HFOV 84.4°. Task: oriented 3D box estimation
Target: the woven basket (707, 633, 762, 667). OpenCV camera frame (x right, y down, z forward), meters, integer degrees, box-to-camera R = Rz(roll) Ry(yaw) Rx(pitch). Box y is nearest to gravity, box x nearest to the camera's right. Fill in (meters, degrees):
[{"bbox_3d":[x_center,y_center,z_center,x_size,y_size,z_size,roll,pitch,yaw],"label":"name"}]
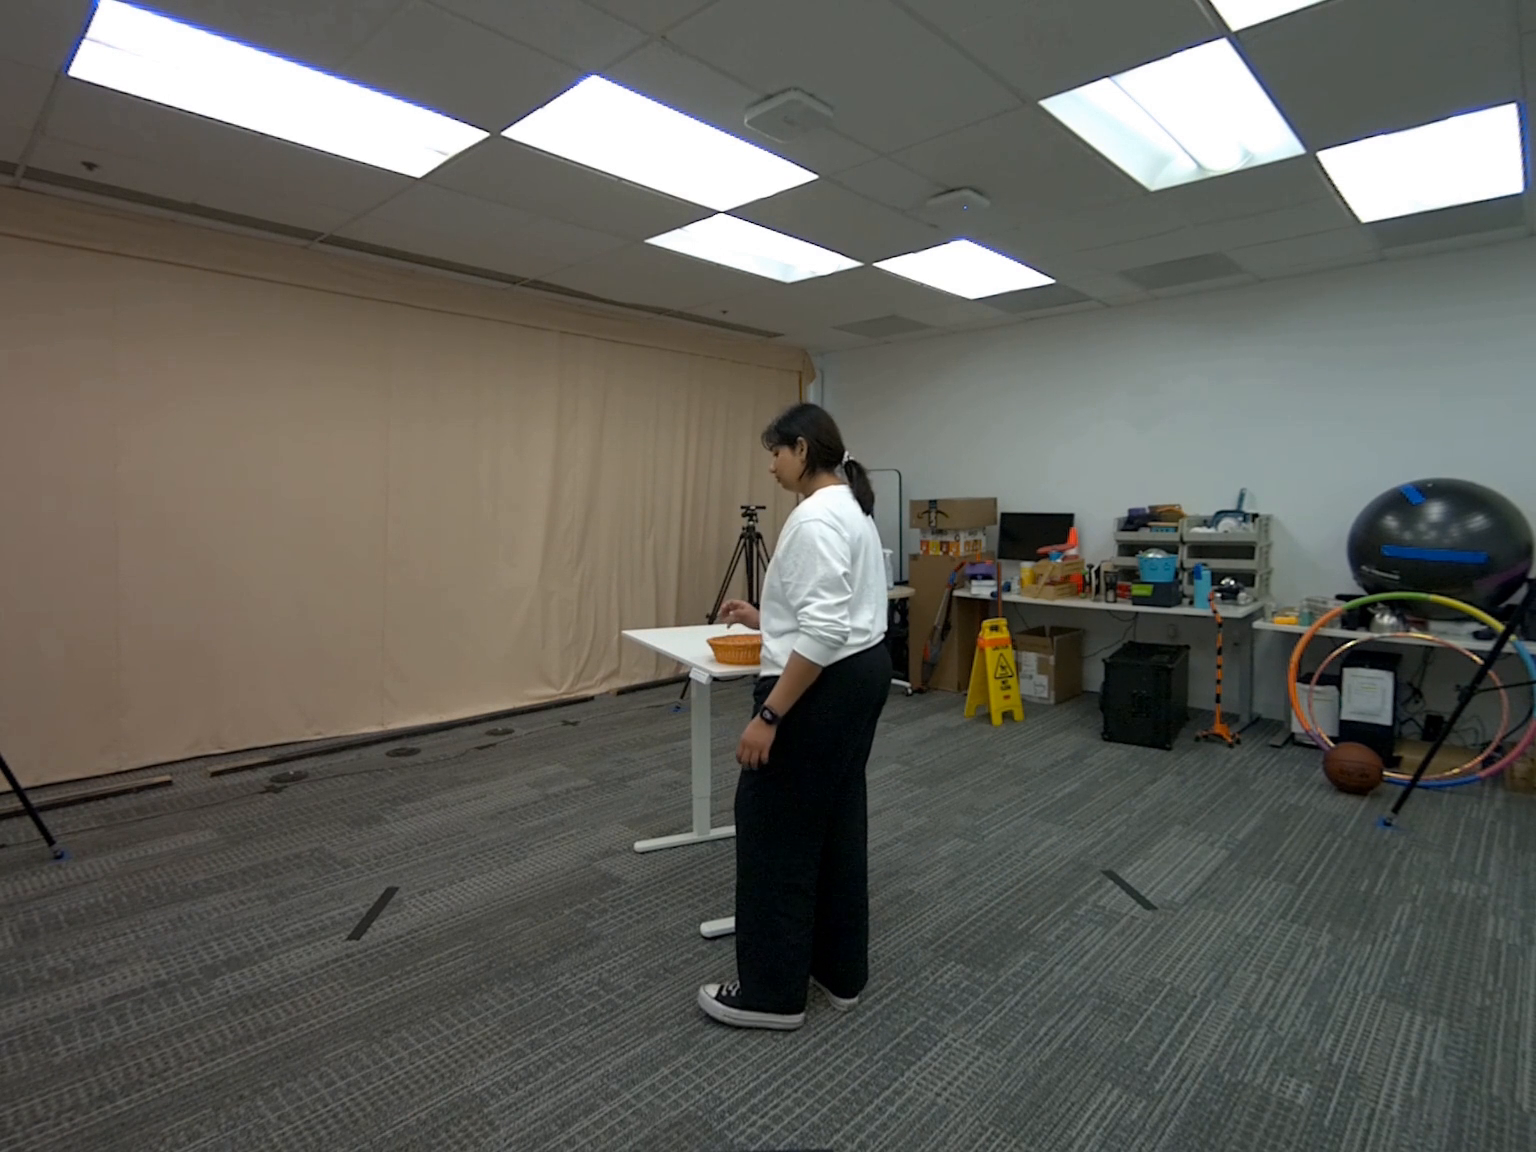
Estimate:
[{"bbox_3d":[-0.015,0.246,2.763,0.344,0.073,0.257,-2,3,-18],"label":"woven basket"}]
